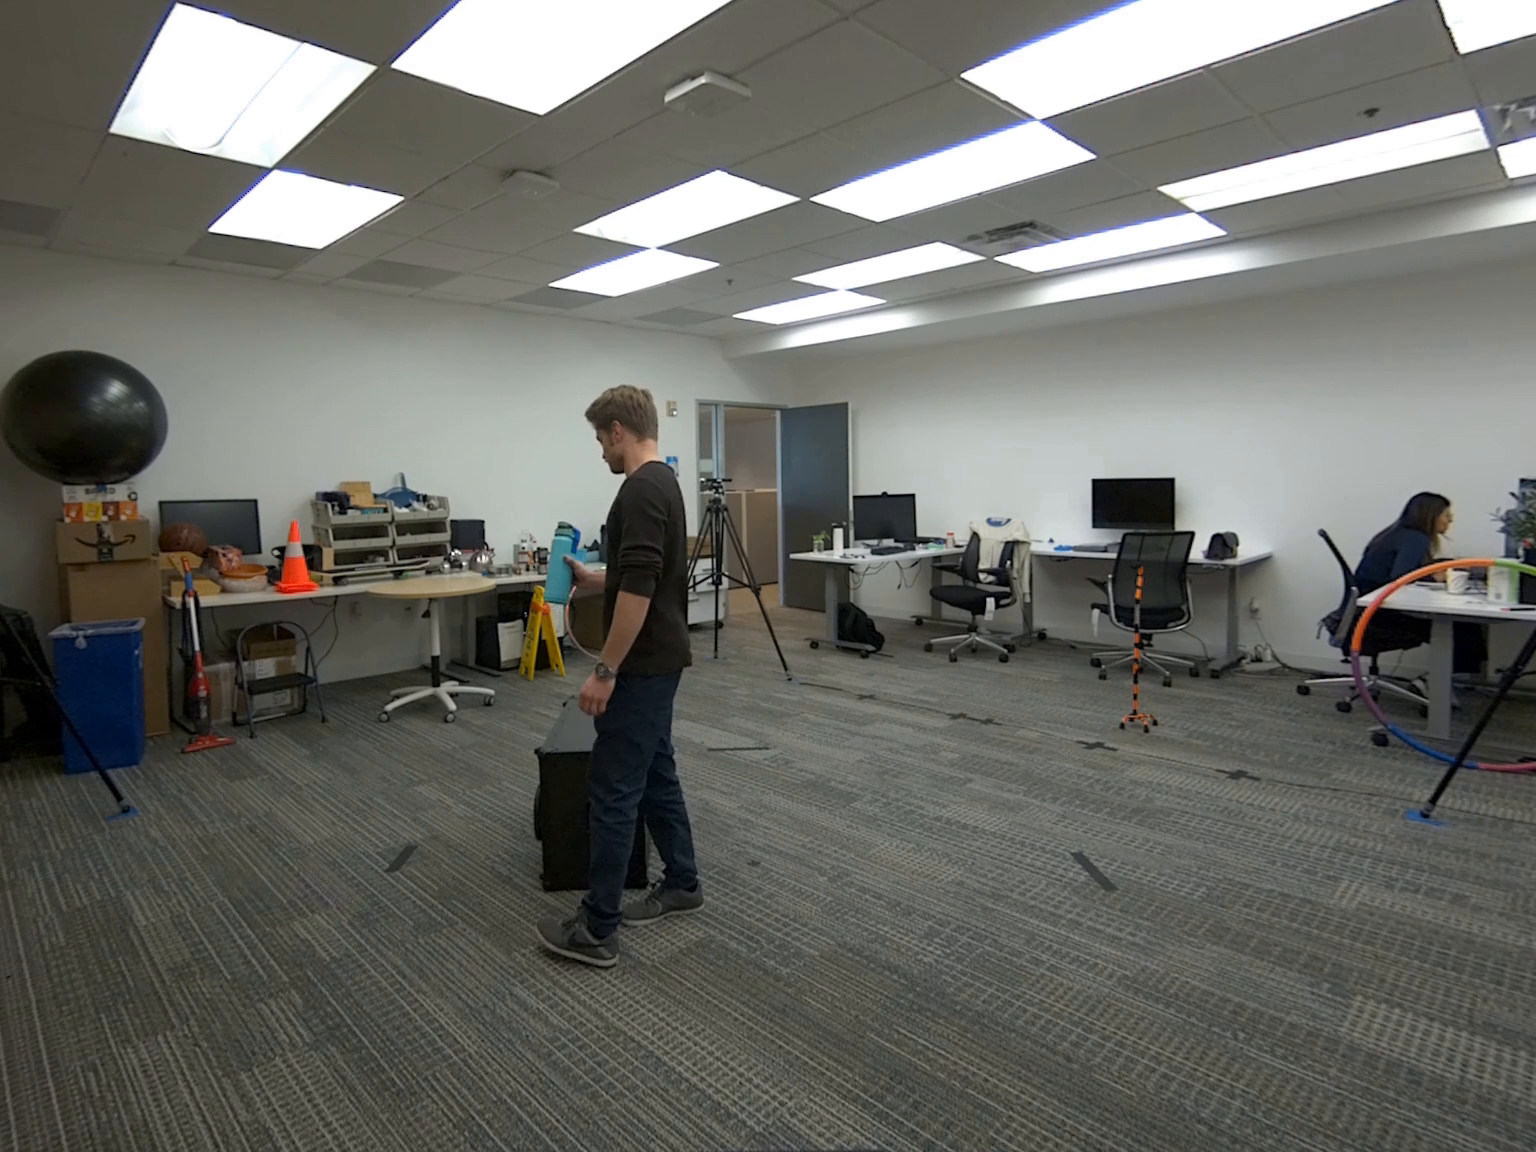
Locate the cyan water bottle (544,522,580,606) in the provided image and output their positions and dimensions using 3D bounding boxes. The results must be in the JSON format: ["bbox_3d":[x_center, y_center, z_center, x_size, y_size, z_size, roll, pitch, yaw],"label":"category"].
[{"bbox_3d":[-0.706,-0.047,2.960,0.092,0.285,0.091,9,-10,0],"label":"cyan water bottle"}]
